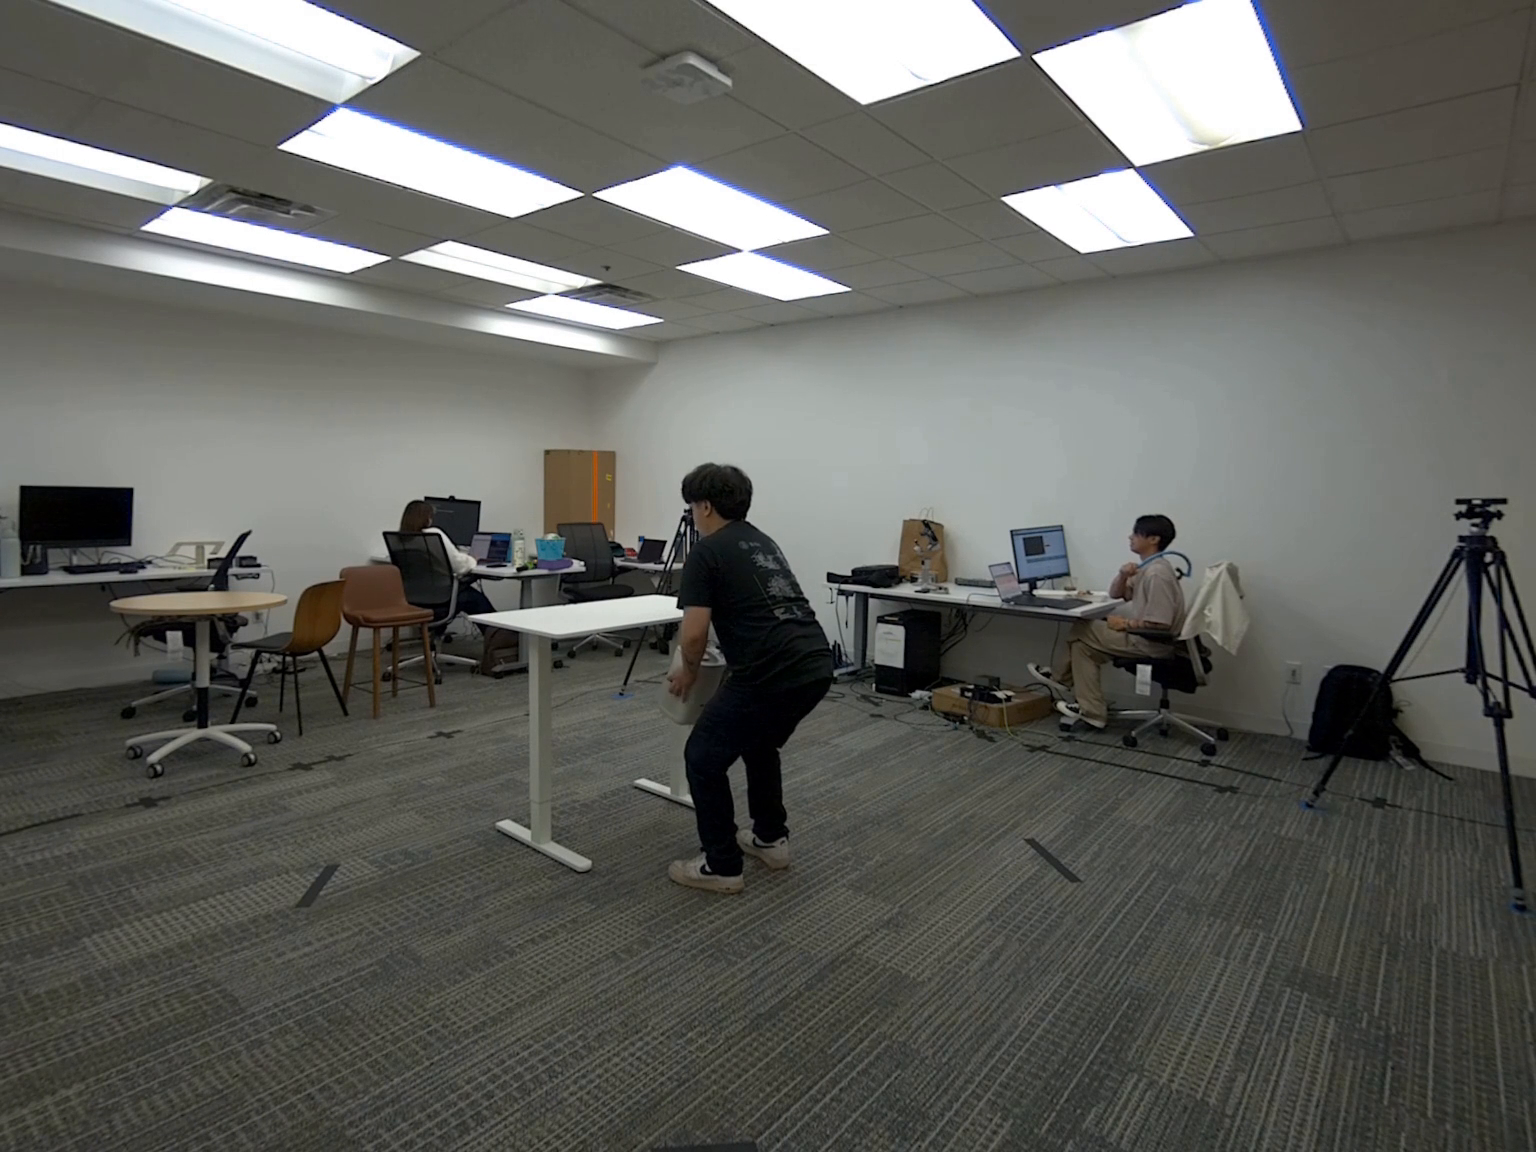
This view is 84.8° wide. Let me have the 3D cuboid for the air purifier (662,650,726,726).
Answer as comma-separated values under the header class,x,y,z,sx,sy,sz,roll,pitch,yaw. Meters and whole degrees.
class,x,y,z,sx,sy,sz,roll,pitch,yaw
air purifier,-0.302,0.426,3.255,0.179,0.264,0.165,27,13,39
